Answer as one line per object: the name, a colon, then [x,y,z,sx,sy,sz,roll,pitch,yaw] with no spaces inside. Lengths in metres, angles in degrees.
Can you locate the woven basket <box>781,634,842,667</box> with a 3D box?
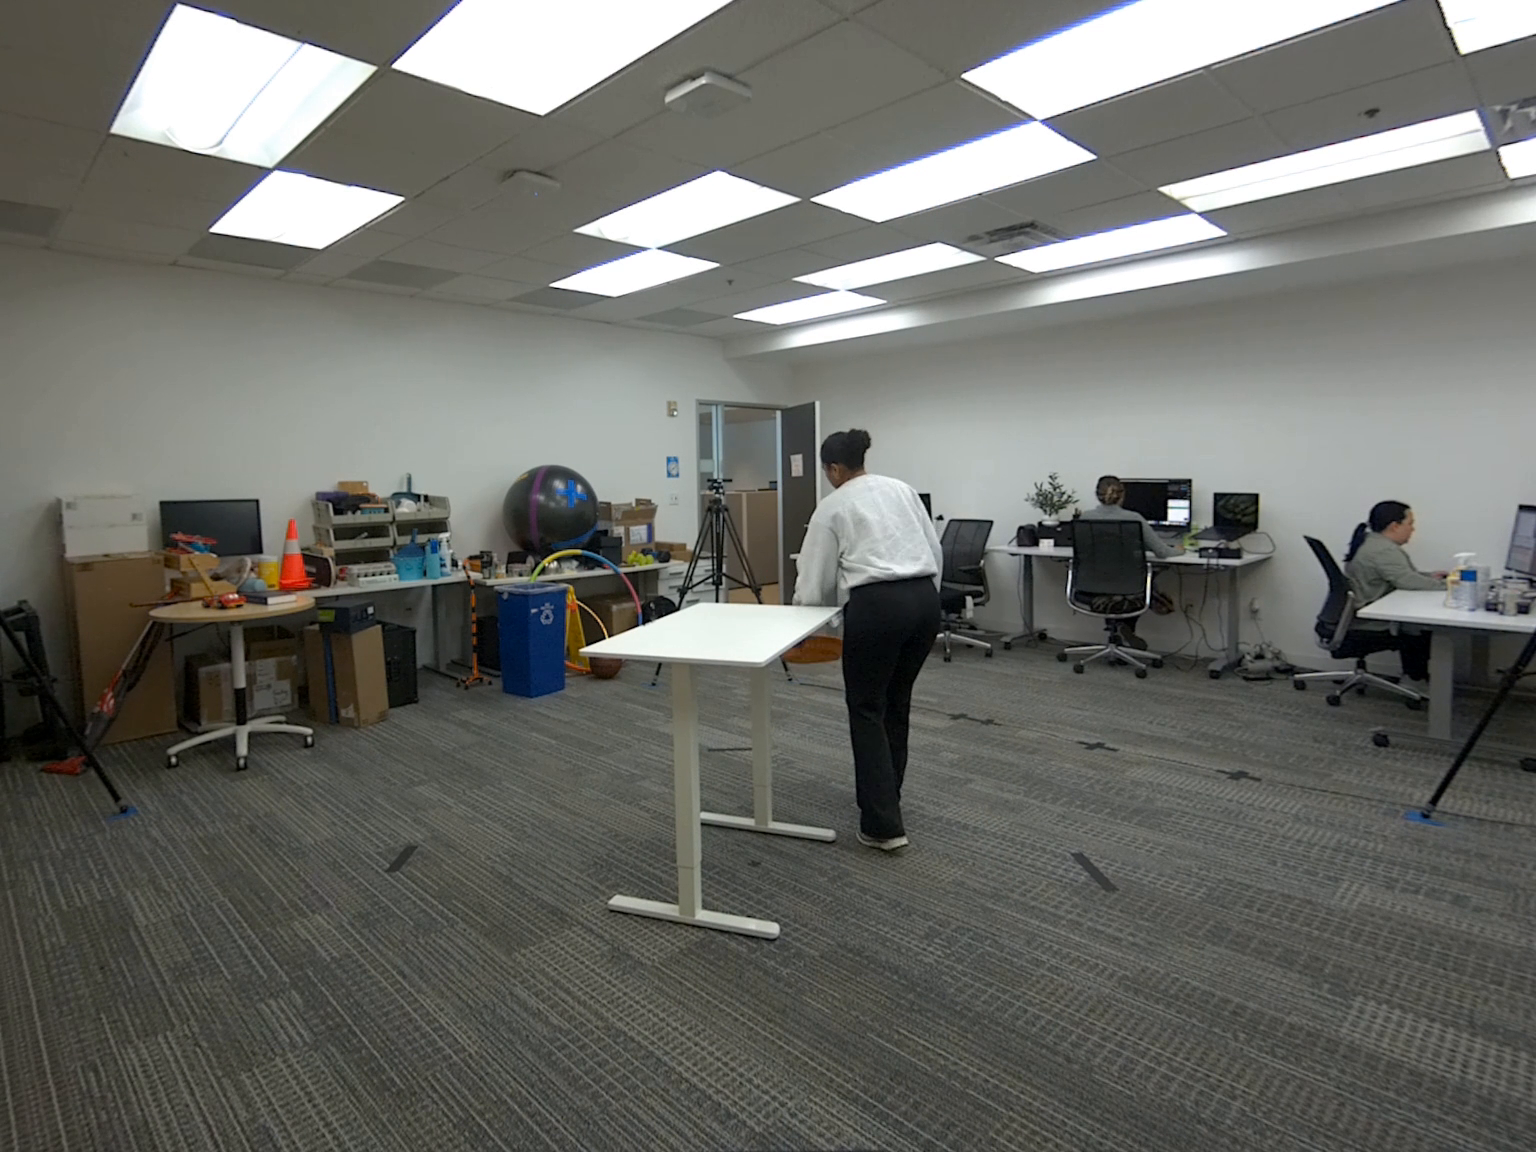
woven basket: [0.196,0.321,3.719,0.247,0.074,0.354,8,-13,-23]
